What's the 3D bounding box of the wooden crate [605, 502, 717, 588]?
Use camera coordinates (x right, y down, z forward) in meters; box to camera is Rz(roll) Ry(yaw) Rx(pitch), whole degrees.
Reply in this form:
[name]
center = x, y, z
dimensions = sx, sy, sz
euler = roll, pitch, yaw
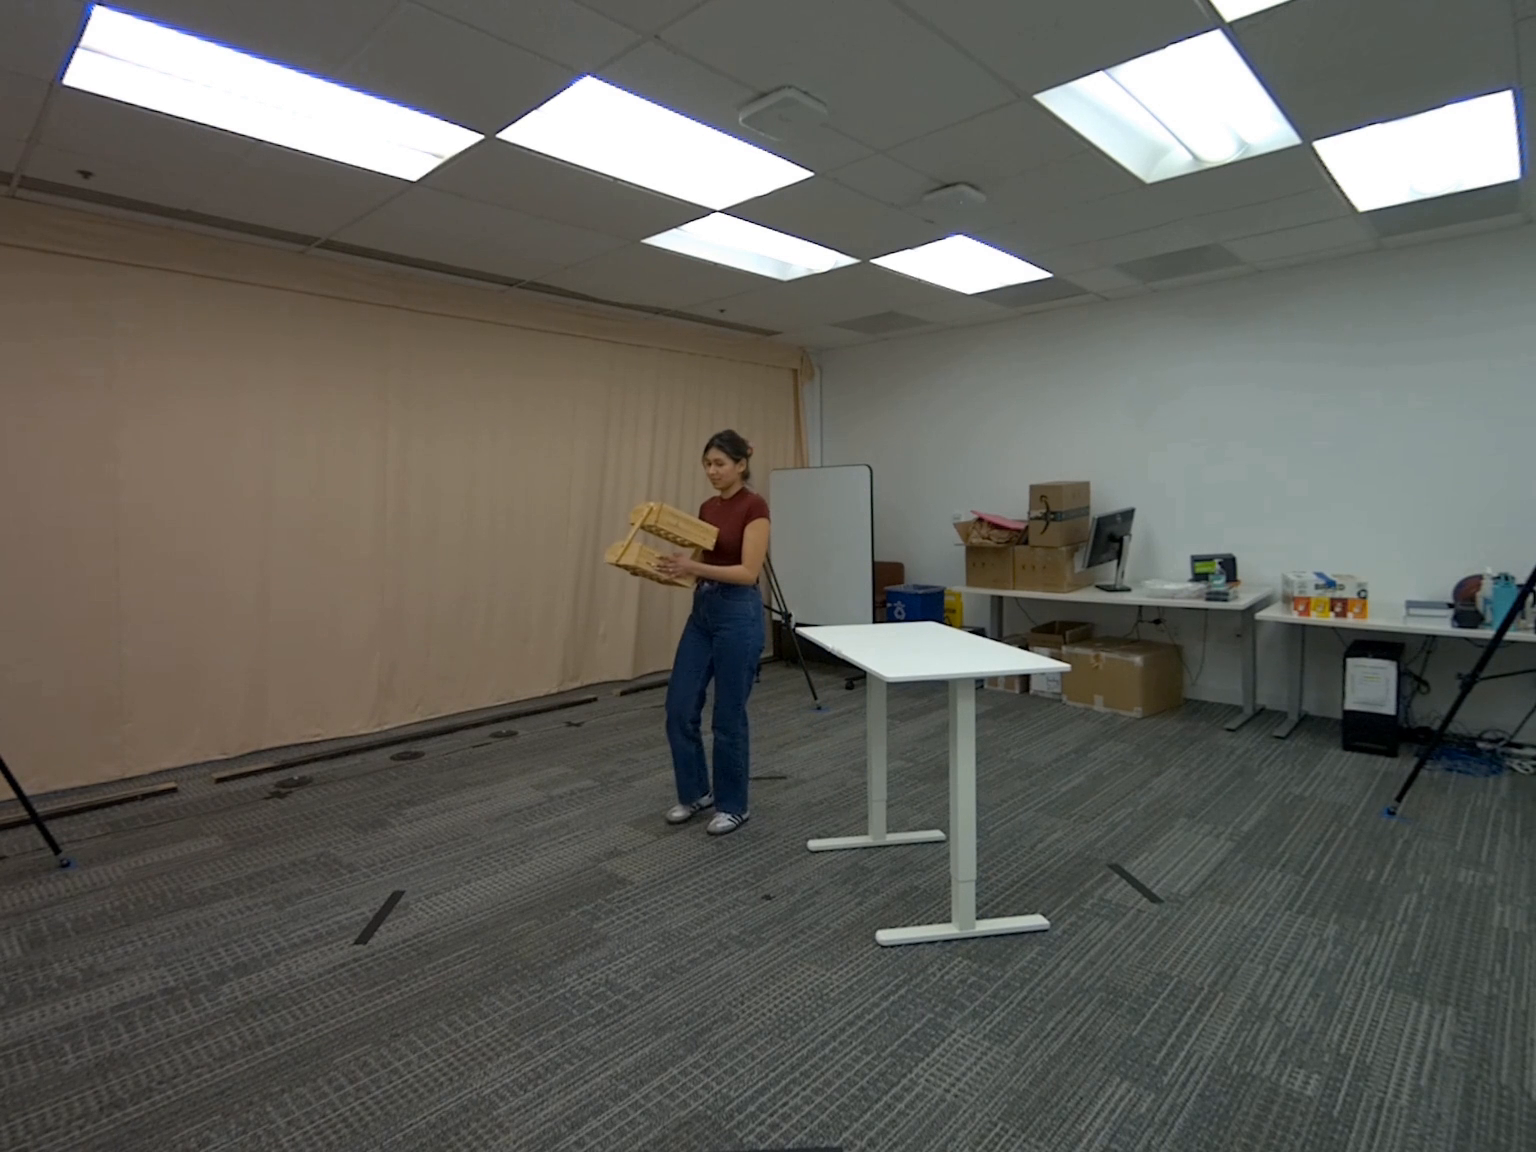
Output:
[wooden crate]
center = -0.435, -0.127, 3.419
dimensions = 0.313, 0.274, 0.312
euler = 23, -11, -38
